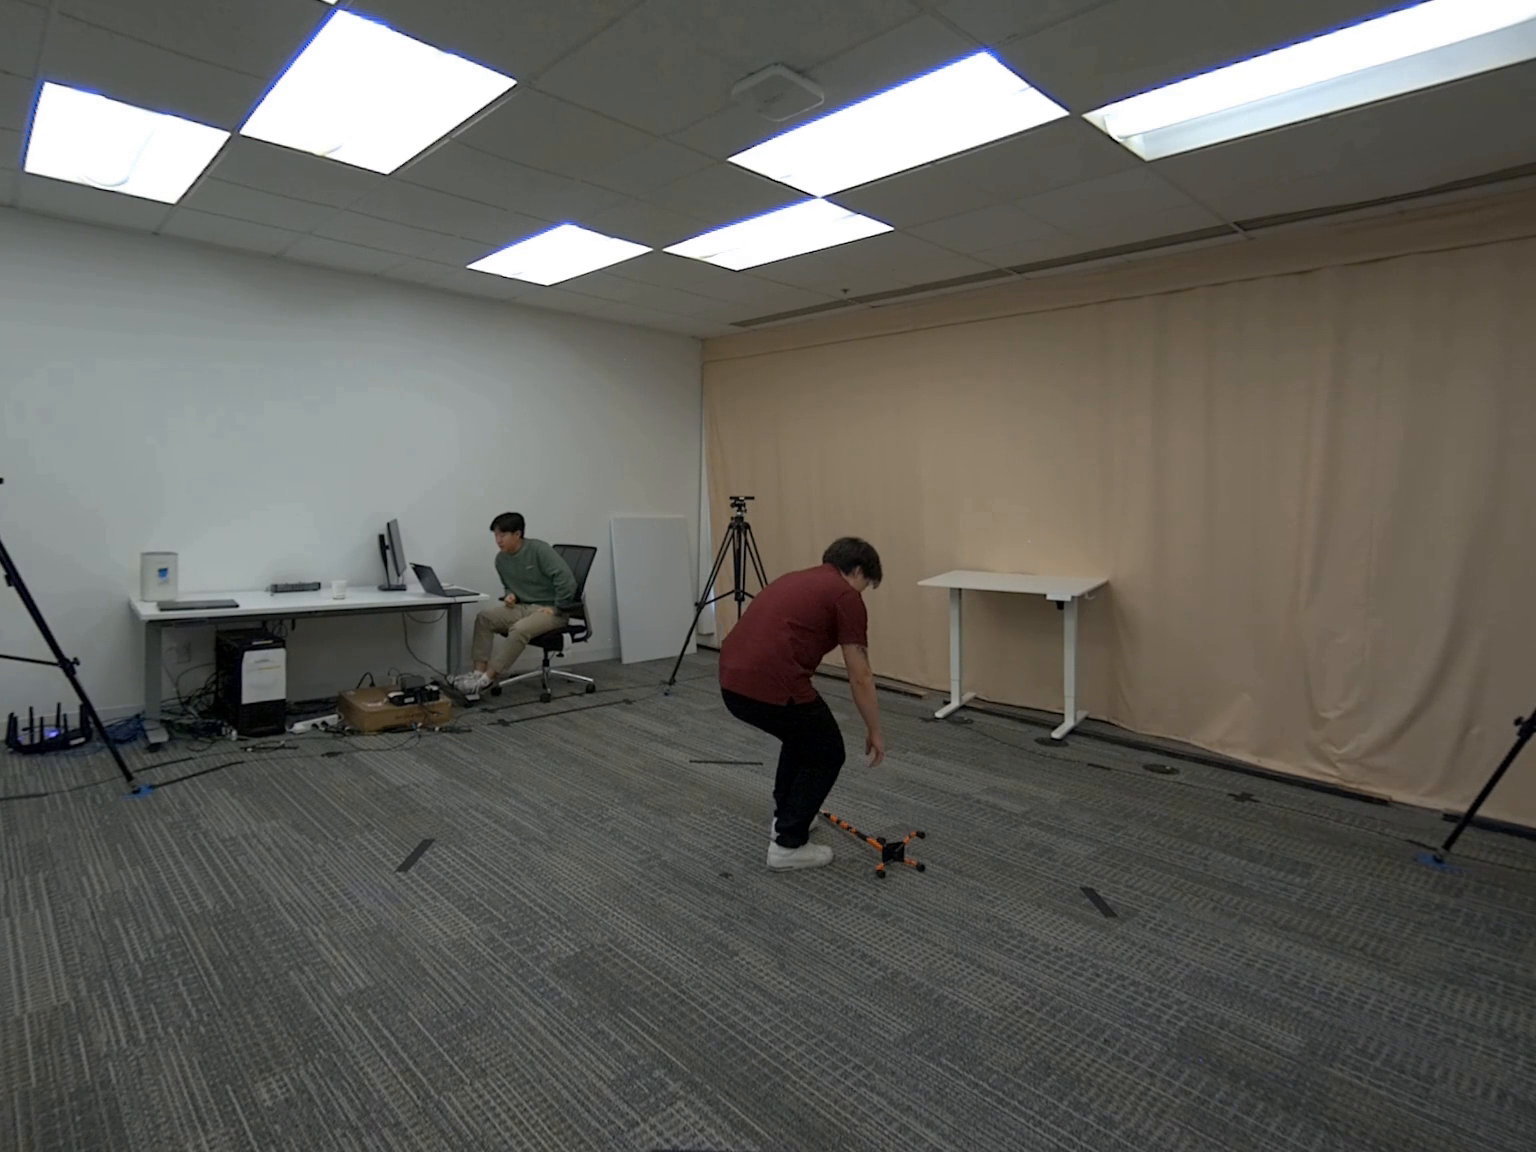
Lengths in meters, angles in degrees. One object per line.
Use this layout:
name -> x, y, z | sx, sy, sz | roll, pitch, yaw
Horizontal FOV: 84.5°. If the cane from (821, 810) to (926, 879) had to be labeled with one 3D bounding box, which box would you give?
cane -> 0.296, 1.018, 3.556 | 0.203, 0.151, 0.925 | 2, 1, -25
